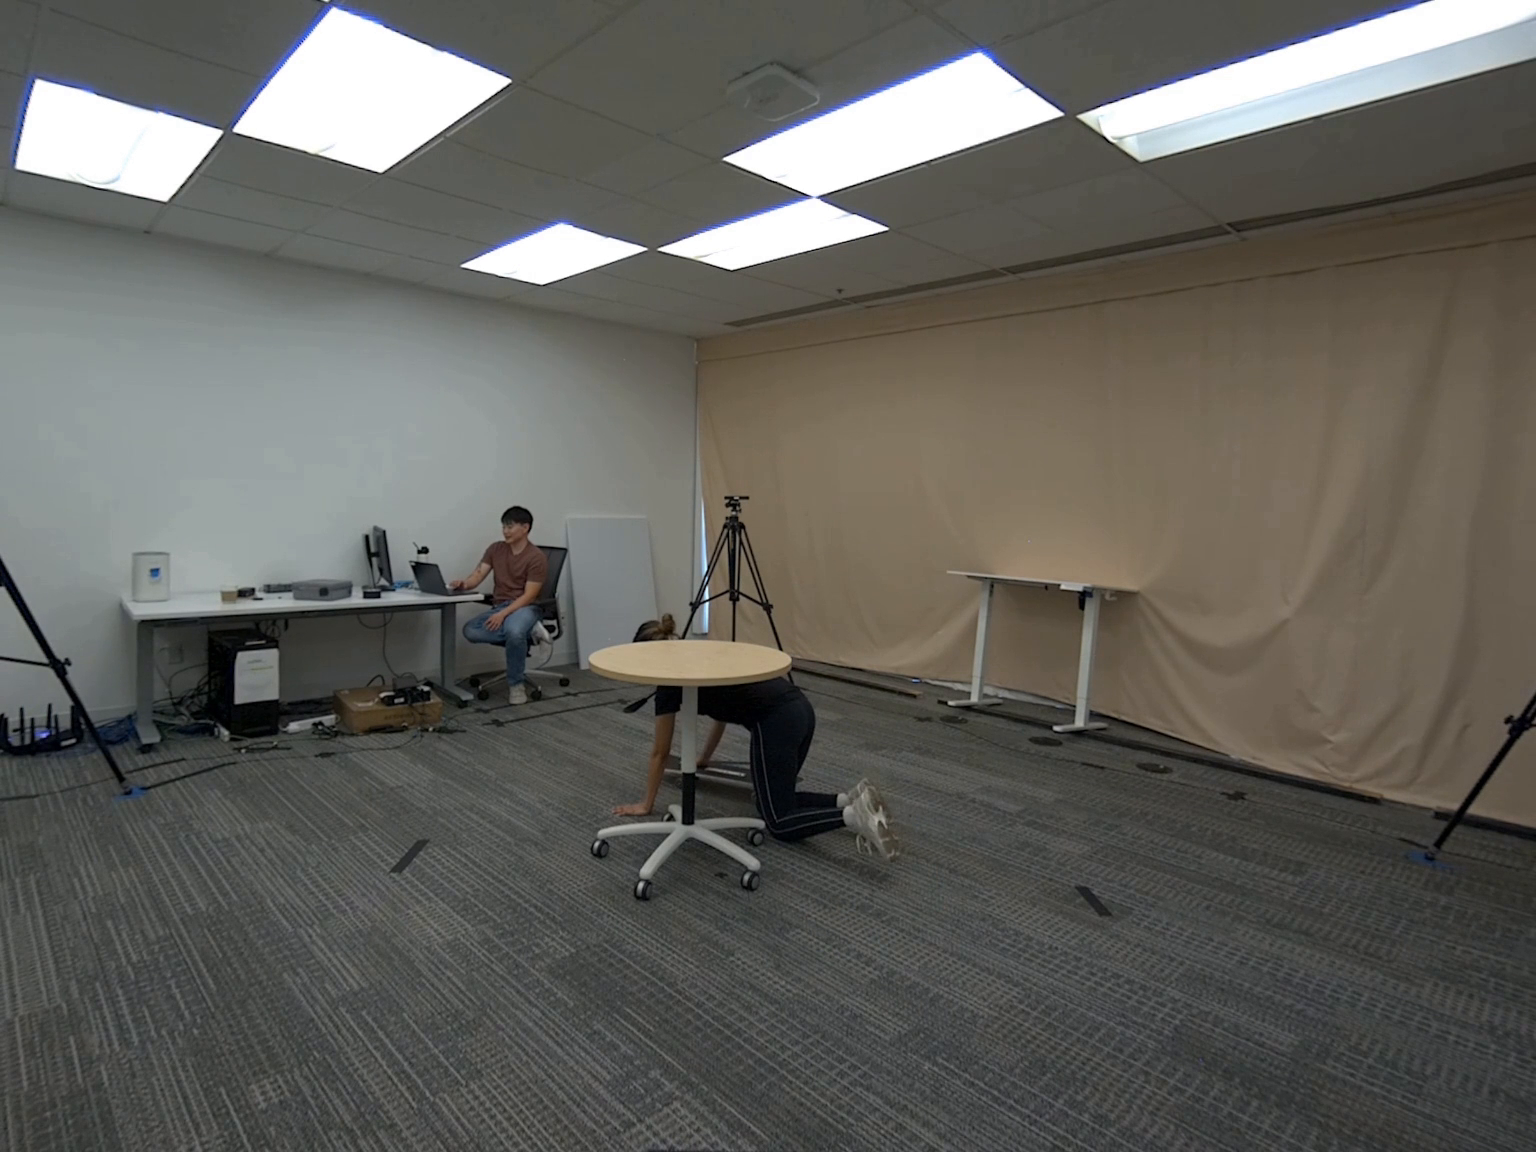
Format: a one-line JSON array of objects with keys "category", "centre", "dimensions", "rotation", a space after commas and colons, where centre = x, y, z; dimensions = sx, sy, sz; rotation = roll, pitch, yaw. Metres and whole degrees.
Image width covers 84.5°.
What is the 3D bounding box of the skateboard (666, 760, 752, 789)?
[{"category": "skateboard", "centre": [-0.211, 0.971, 4.022], "dimensions": [0.800, 0.110, 0.190], "rotation": [4, 5, 24]}]
